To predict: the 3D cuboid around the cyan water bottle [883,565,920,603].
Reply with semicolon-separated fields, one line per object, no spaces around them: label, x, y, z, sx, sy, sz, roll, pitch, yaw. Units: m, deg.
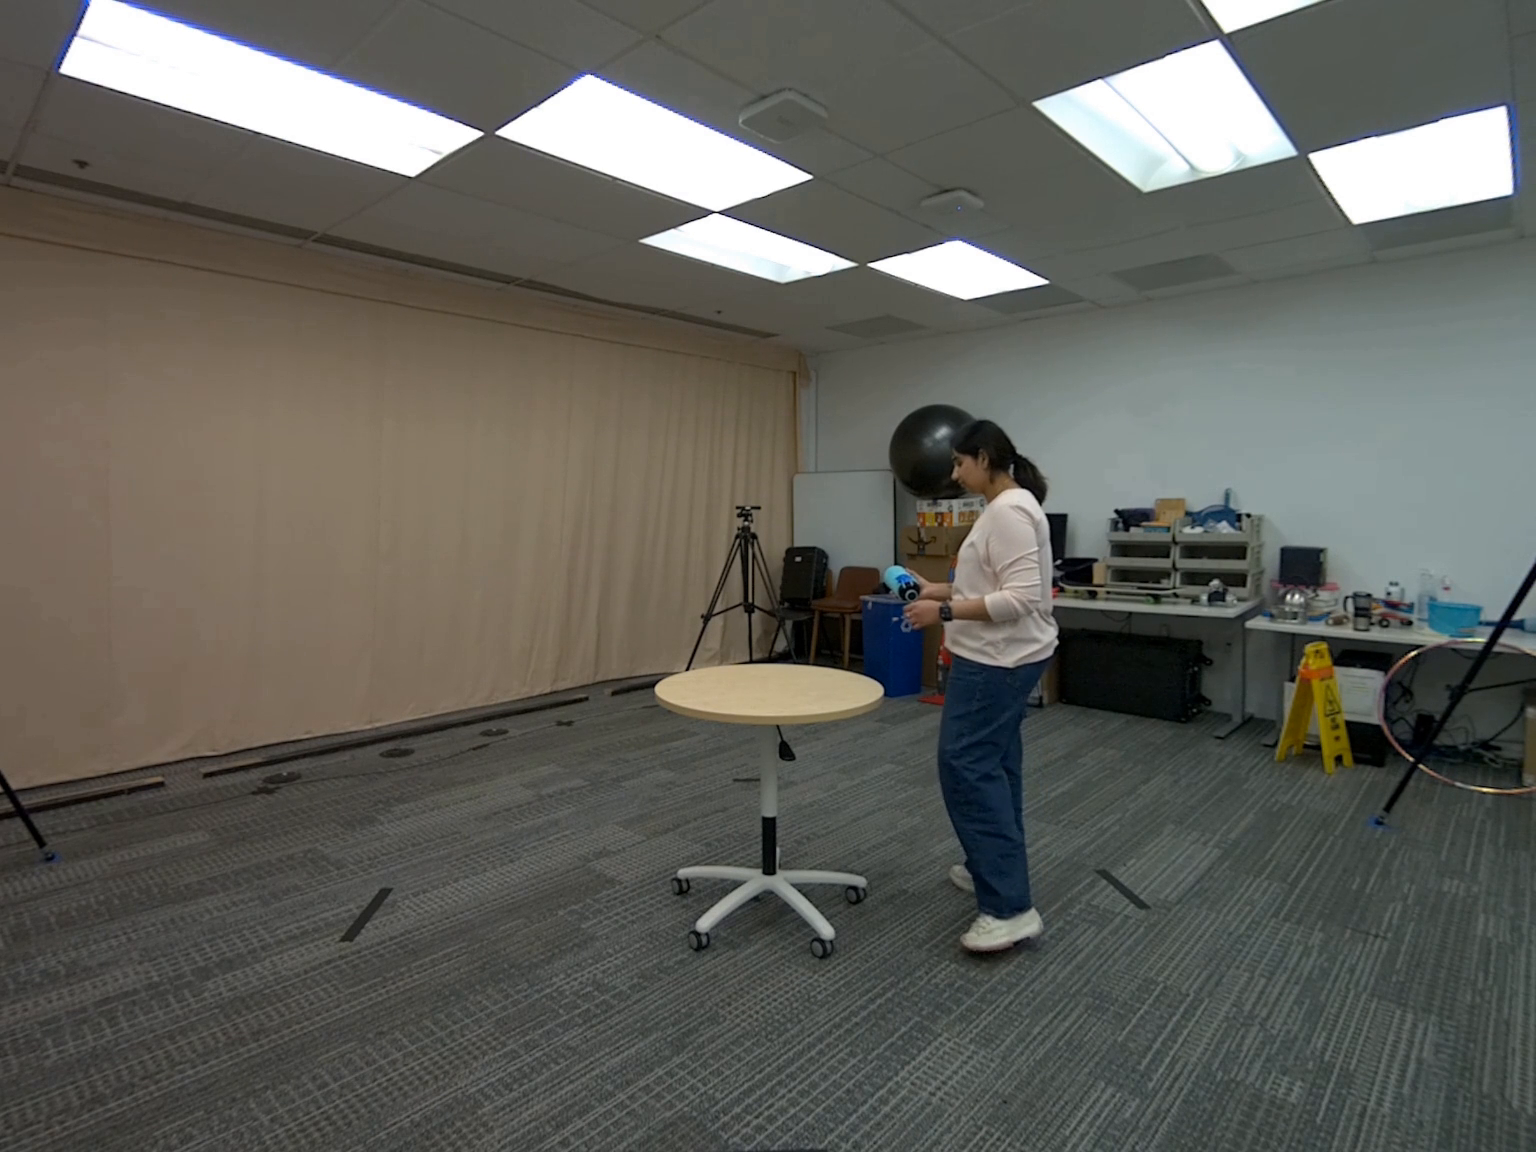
cyan water bottle;0.501;0.032;3.081;0.092;0.092;0.284;0;10;0
